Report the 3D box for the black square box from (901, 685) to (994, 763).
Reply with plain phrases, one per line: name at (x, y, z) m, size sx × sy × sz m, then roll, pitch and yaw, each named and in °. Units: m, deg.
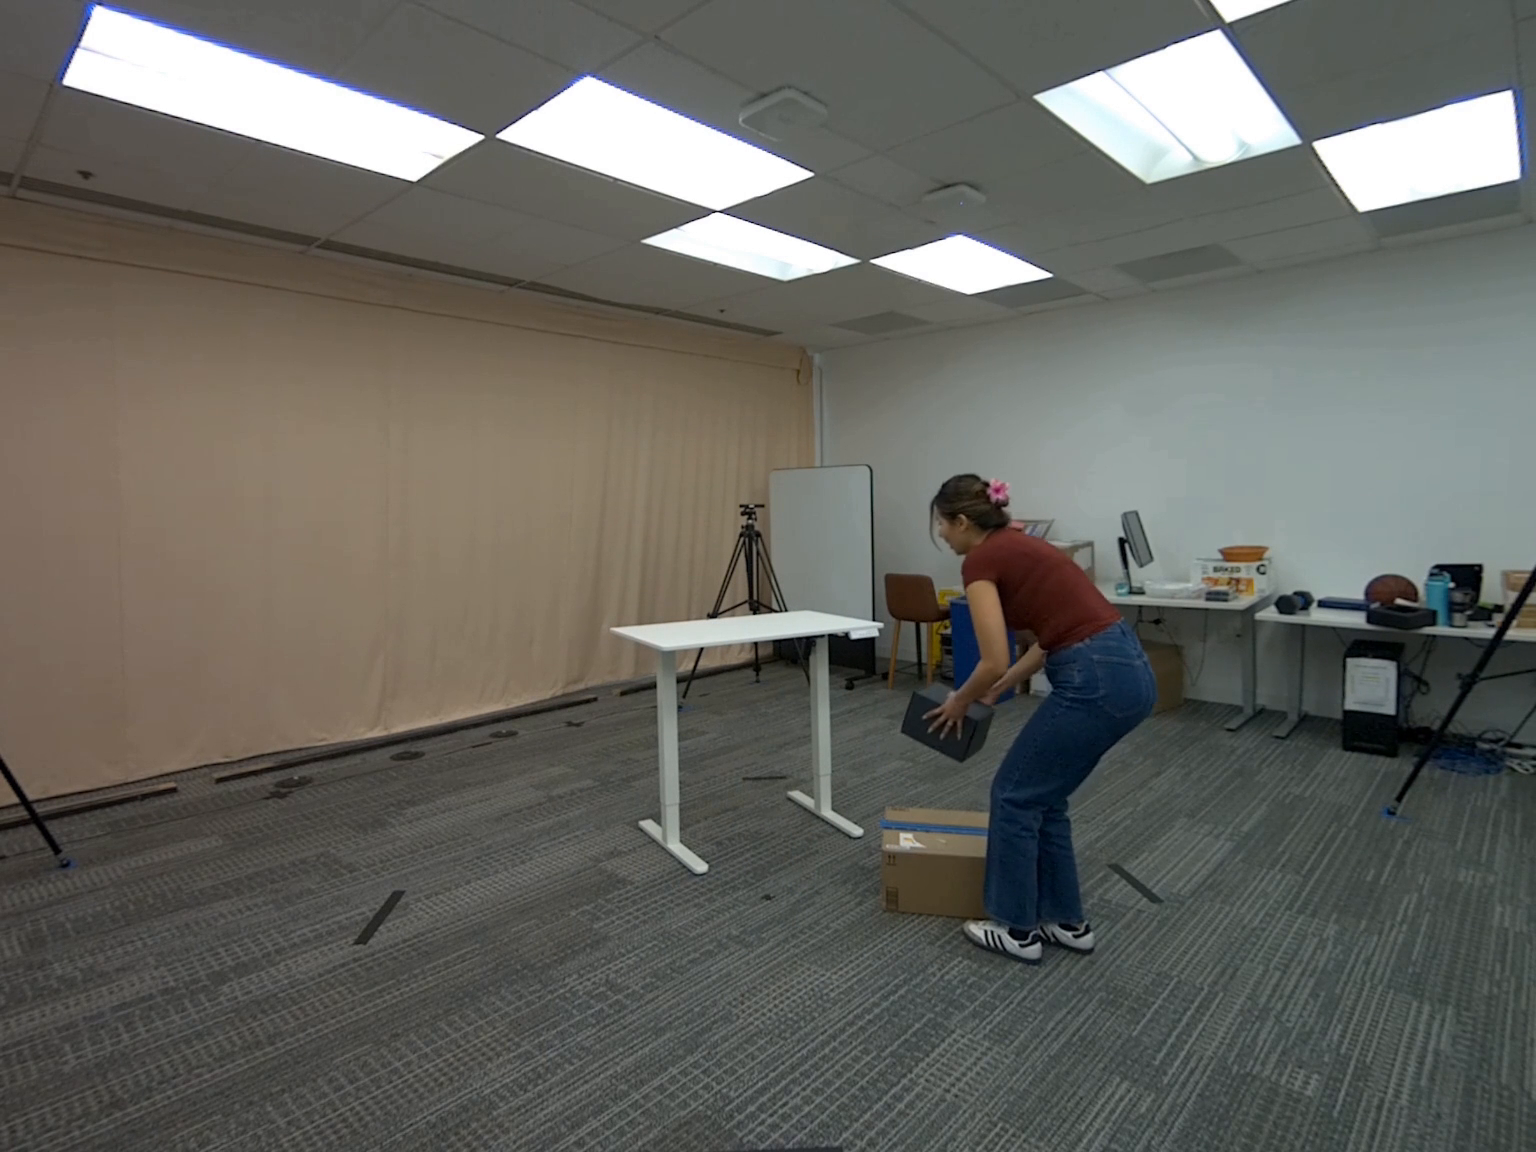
black square box at (0.625, 0.489, 2.854) m, size 0.235 × 0.155 × 0.211 m, roll 22°, pitch 13°, yaw 28°
